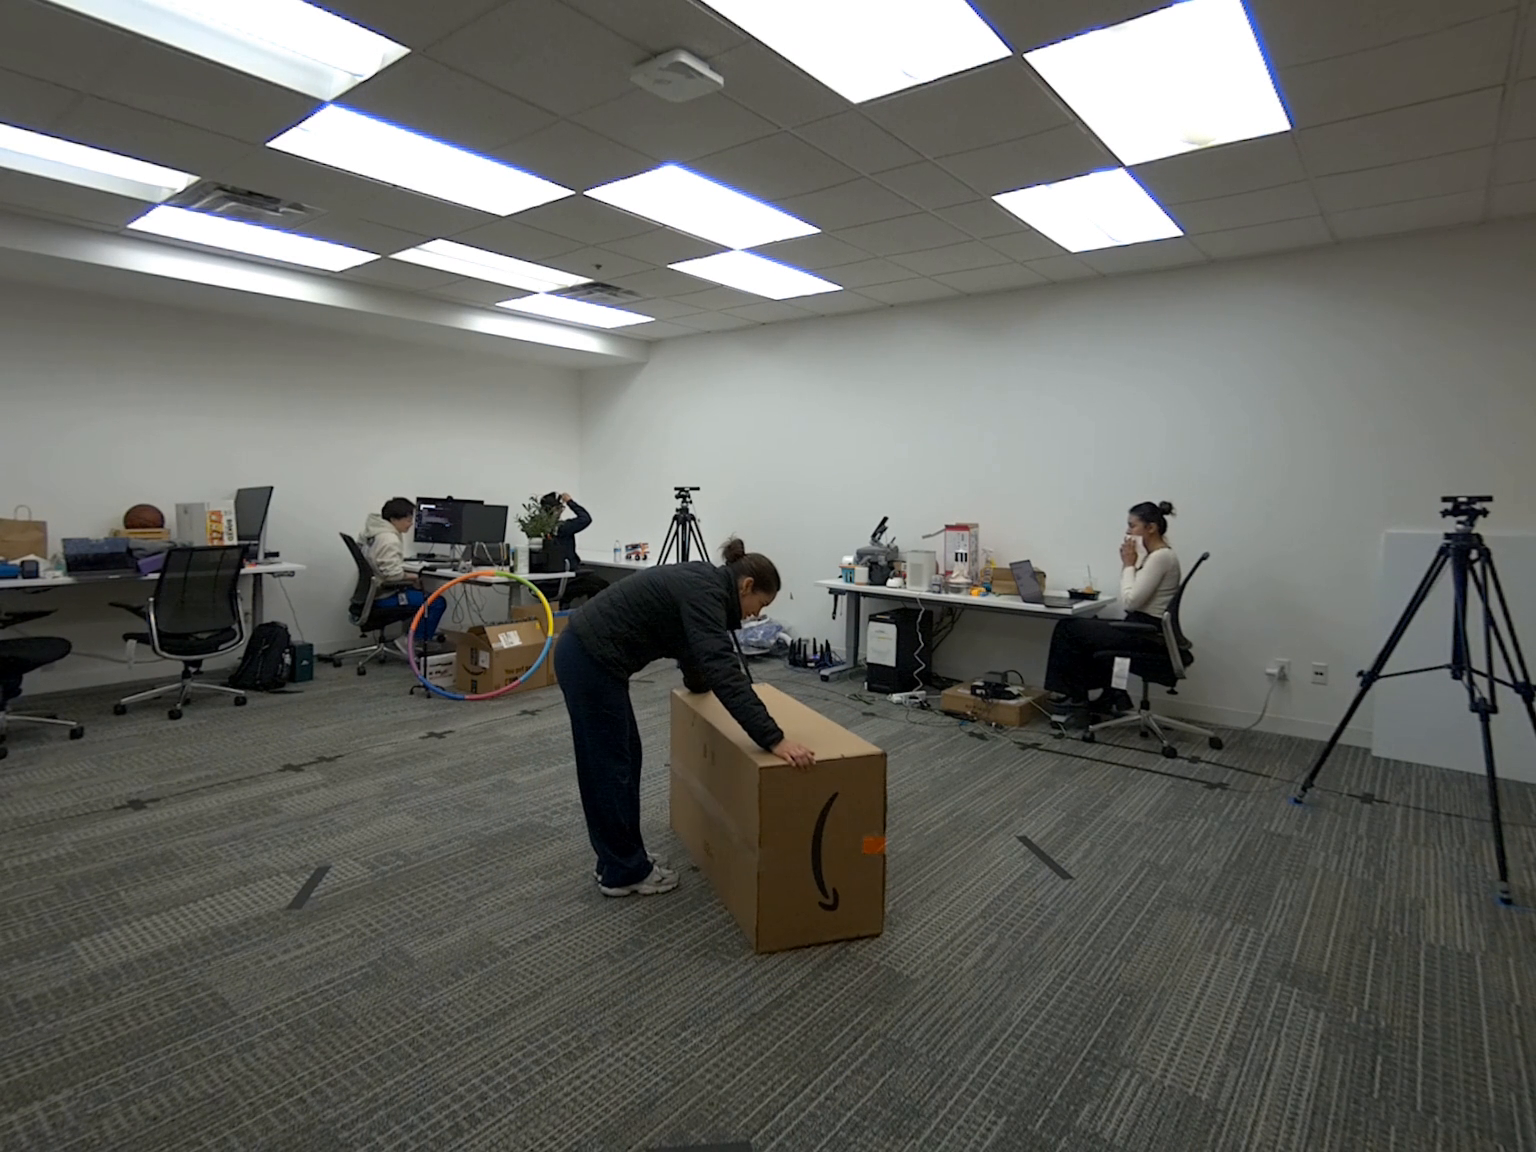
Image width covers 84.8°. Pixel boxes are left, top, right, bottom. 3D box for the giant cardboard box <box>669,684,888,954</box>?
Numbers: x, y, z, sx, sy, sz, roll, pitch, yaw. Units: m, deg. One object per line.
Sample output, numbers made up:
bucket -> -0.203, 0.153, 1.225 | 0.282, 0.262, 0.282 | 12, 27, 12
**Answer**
giant cardboard box -> -0.002, 0.782, 3.071 | 0.439, 0.581, 1.050 | -3, 6, -19
